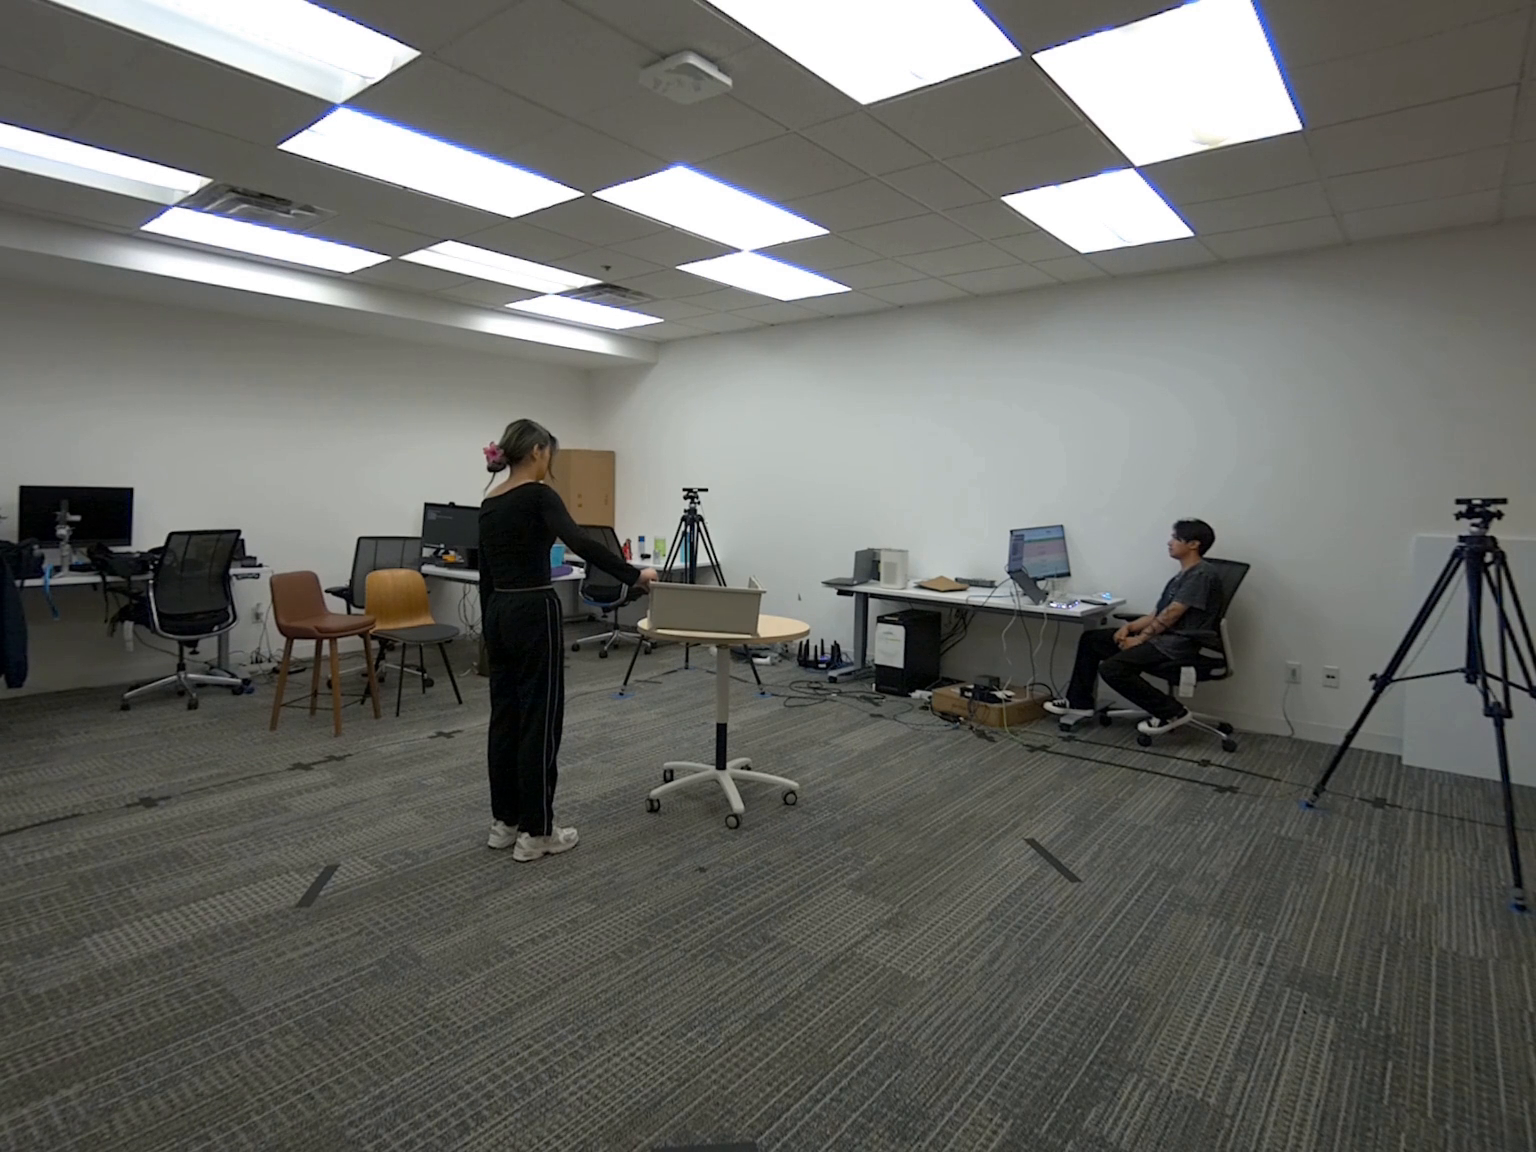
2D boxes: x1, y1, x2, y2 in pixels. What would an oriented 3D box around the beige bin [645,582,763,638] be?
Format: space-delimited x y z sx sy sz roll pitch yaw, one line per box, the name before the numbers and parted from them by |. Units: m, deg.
beige bin | -0.259 0.095 3.248 0.419 0.188 0.382 4 8 -7
